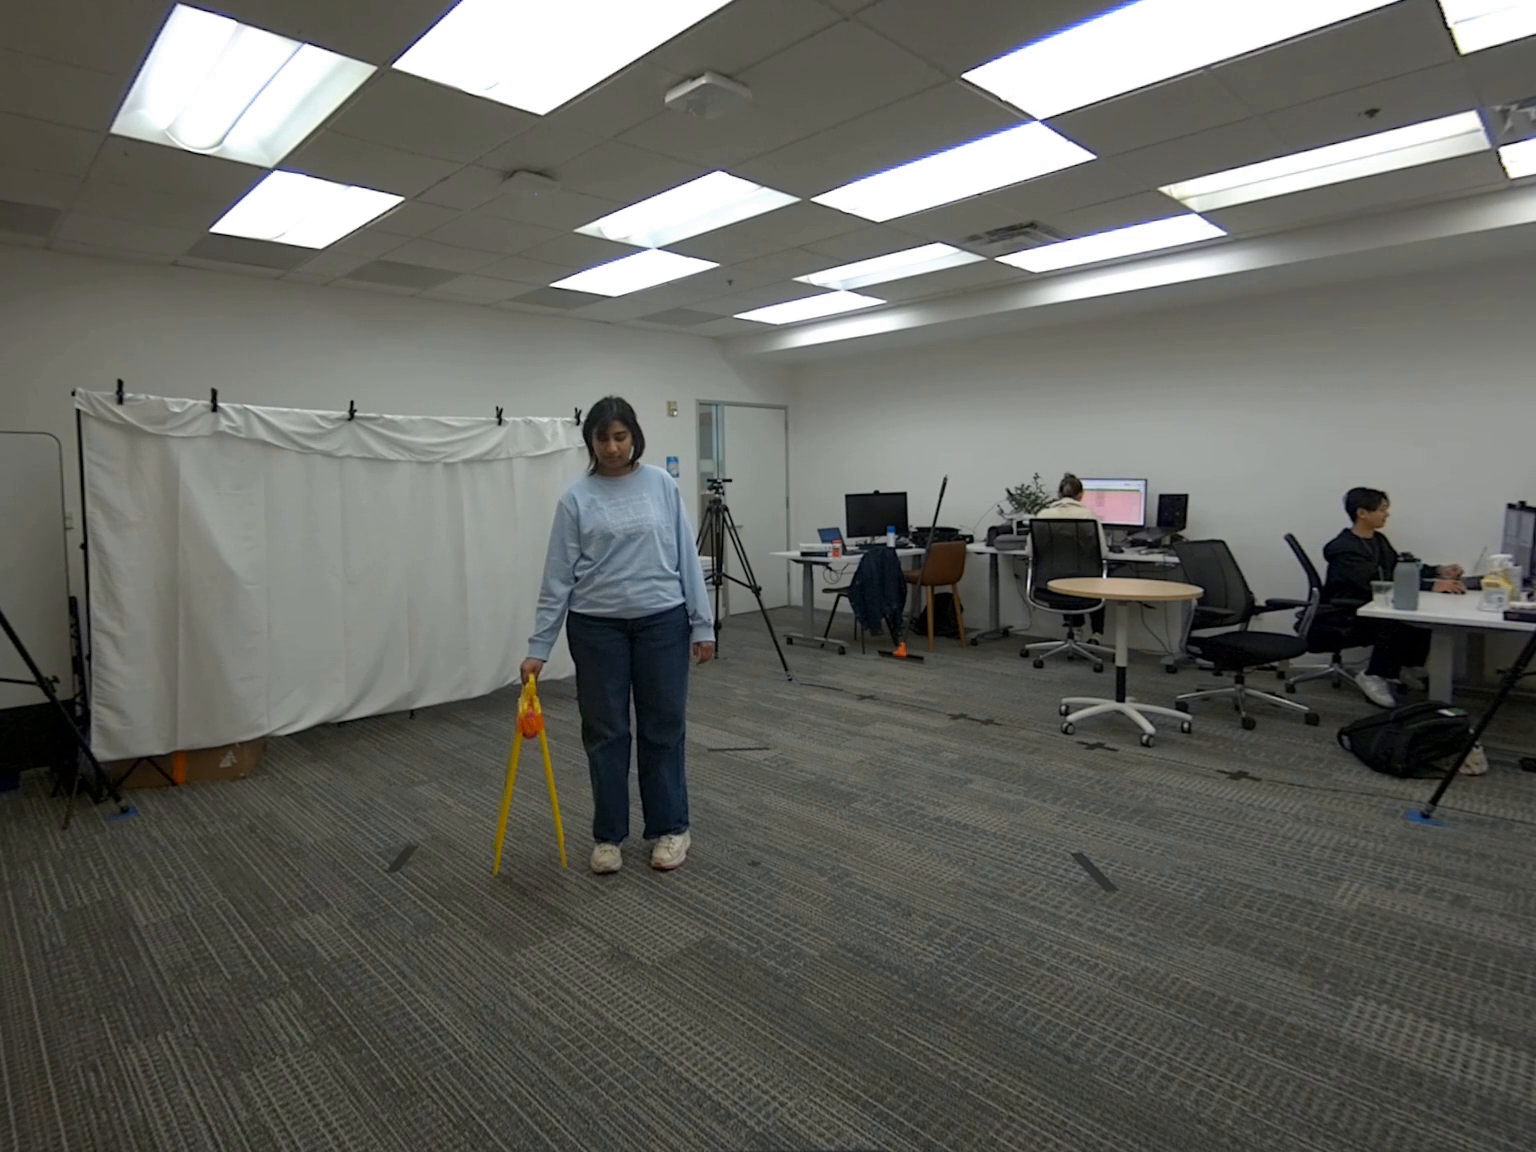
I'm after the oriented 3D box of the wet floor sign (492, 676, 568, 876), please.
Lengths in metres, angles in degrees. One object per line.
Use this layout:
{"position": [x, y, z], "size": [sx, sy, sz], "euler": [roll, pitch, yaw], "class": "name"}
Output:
{"position": [-0.831, 0.662, 2.983], "size": [0.286, 0.643, 0.287], "euler": [1, 5, -14], "class": "wet floor sign"}
